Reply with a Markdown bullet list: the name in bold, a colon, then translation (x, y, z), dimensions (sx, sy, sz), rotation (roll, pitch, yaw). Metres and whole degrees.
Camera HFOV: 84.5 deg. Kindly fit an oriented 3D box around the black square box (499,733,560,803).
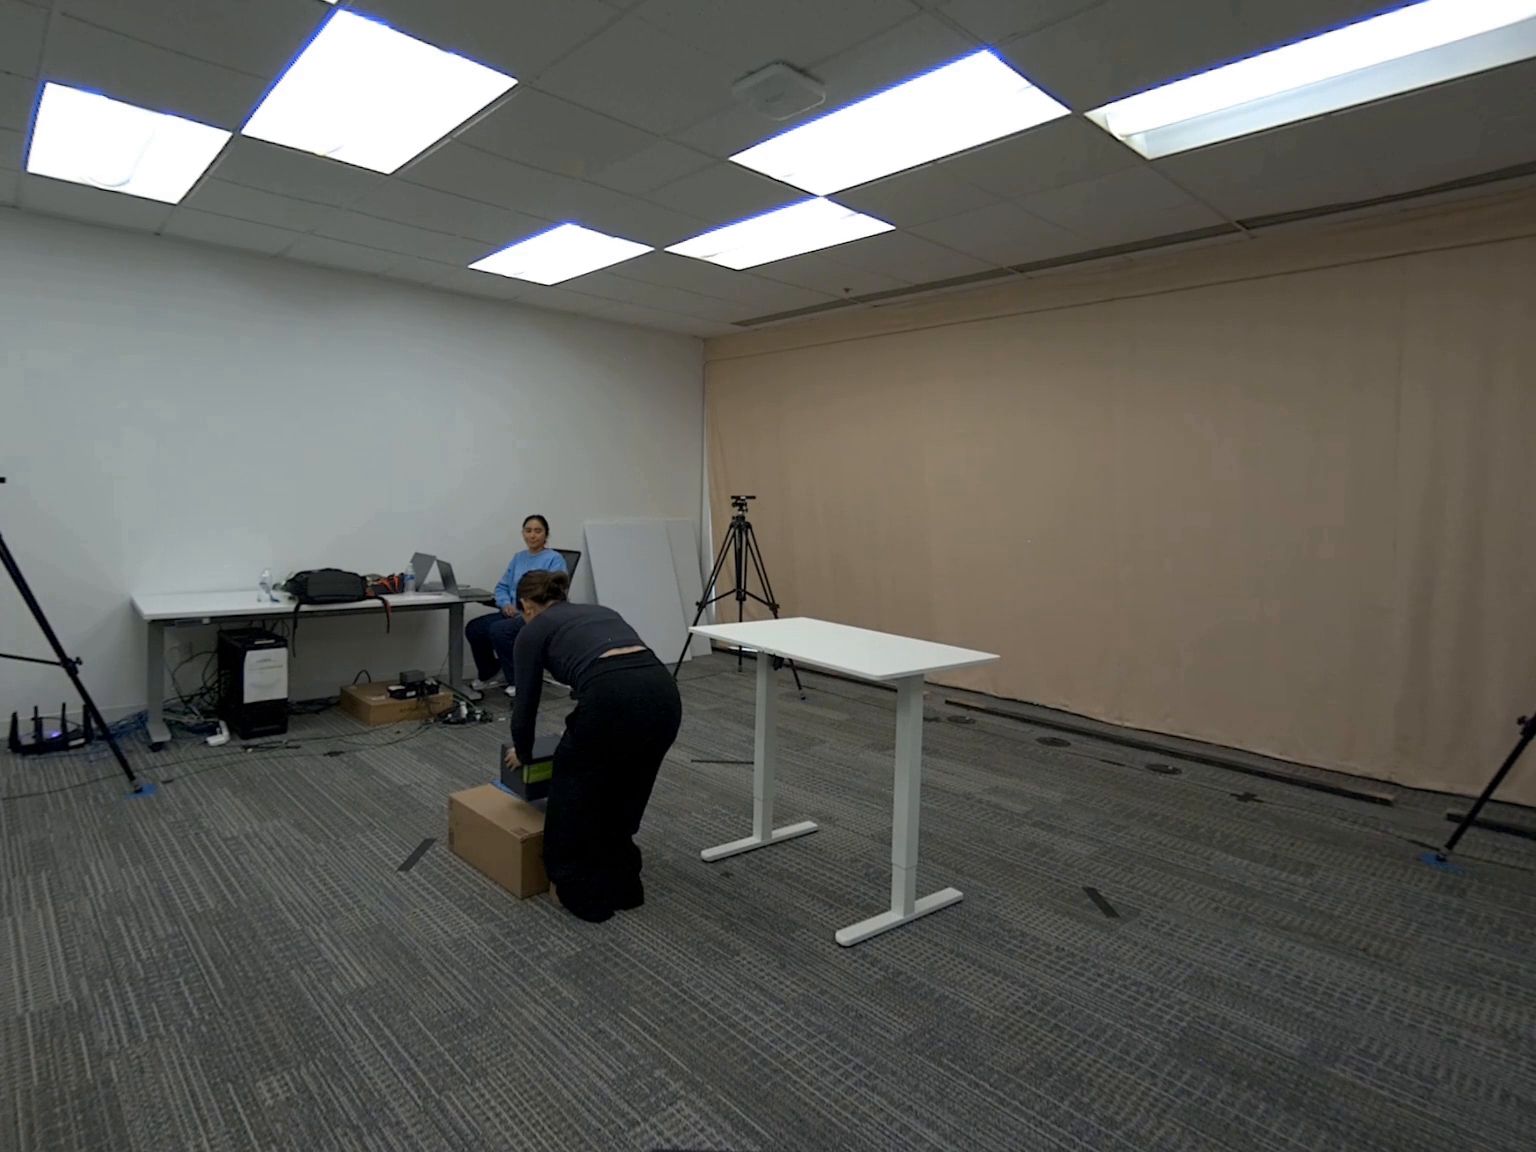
- **black square box**: translation (-0.855, 0.703, 3.137), dimensions (0.223, 0.155, 0.223), rotation (-3, 9, -42)
